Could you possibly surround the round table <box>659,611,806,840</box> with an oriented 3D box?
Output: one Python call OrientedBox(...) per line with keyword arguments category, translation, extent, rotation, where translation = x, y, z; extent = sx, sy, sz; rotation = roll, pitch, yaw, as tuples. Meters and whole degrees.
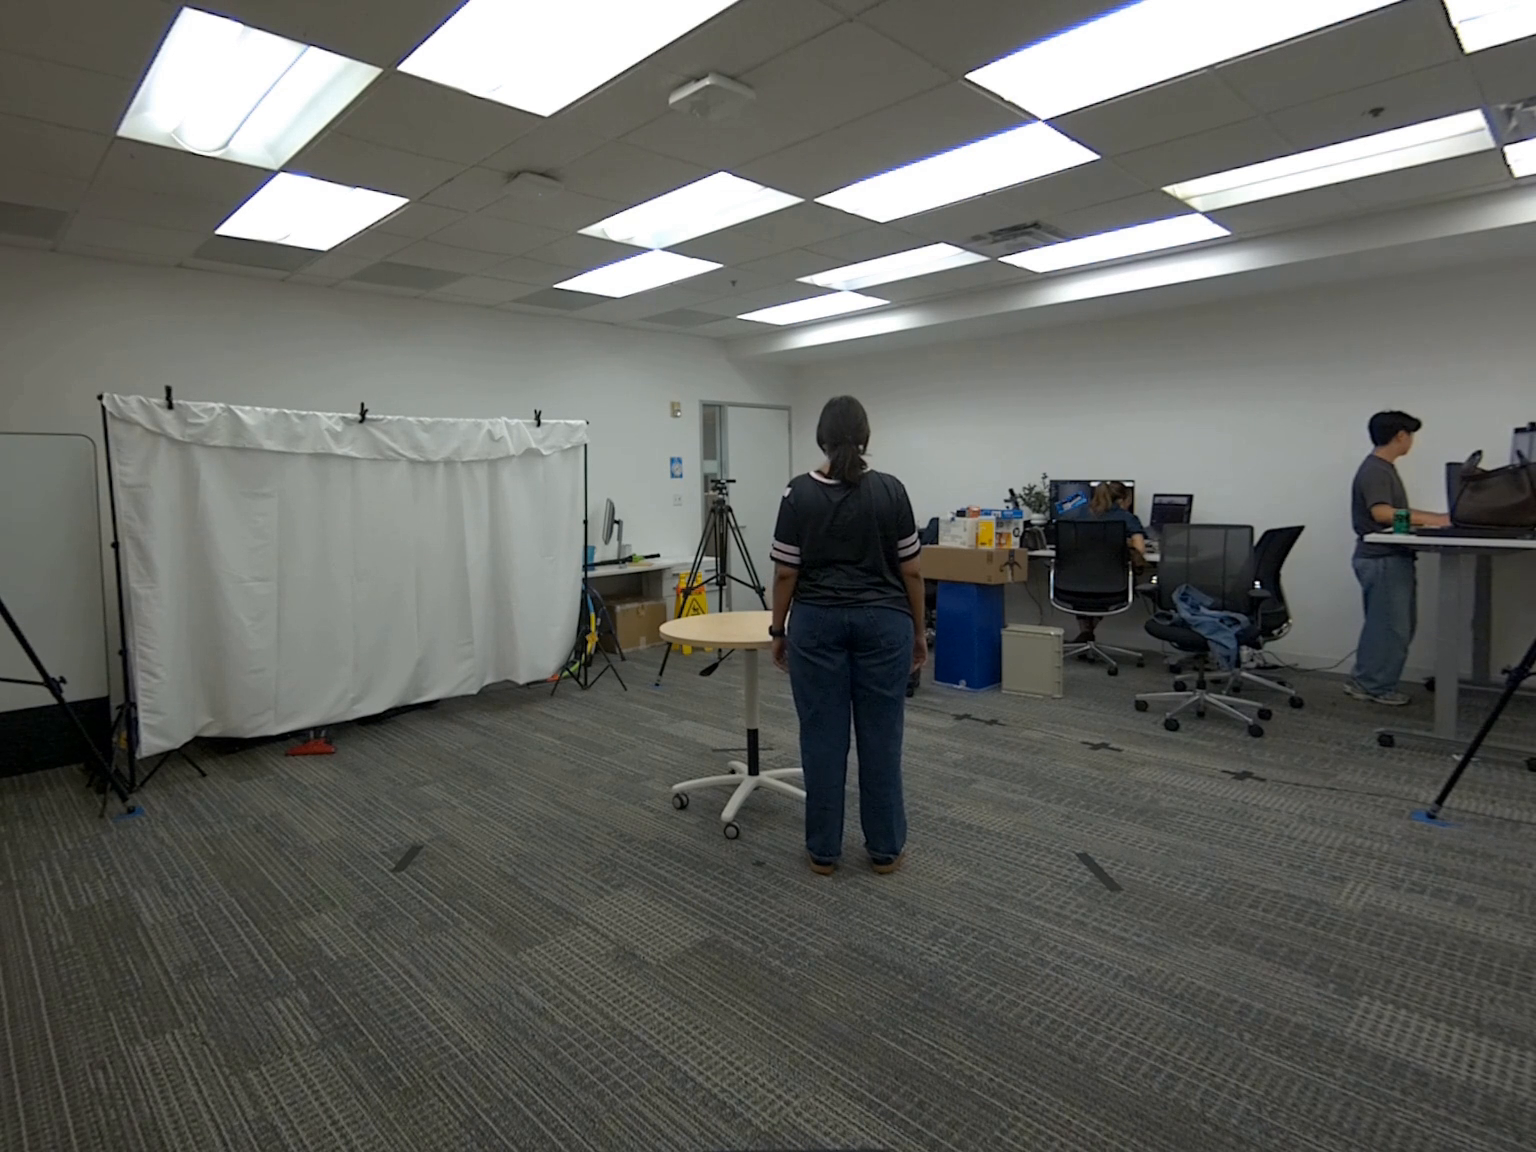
OrientedBox(category="round table", translation=(-0.062, 0.600, 3.634), extent=(0.763, 0.791, 0.767), rotation=(-1, 4, -2))
